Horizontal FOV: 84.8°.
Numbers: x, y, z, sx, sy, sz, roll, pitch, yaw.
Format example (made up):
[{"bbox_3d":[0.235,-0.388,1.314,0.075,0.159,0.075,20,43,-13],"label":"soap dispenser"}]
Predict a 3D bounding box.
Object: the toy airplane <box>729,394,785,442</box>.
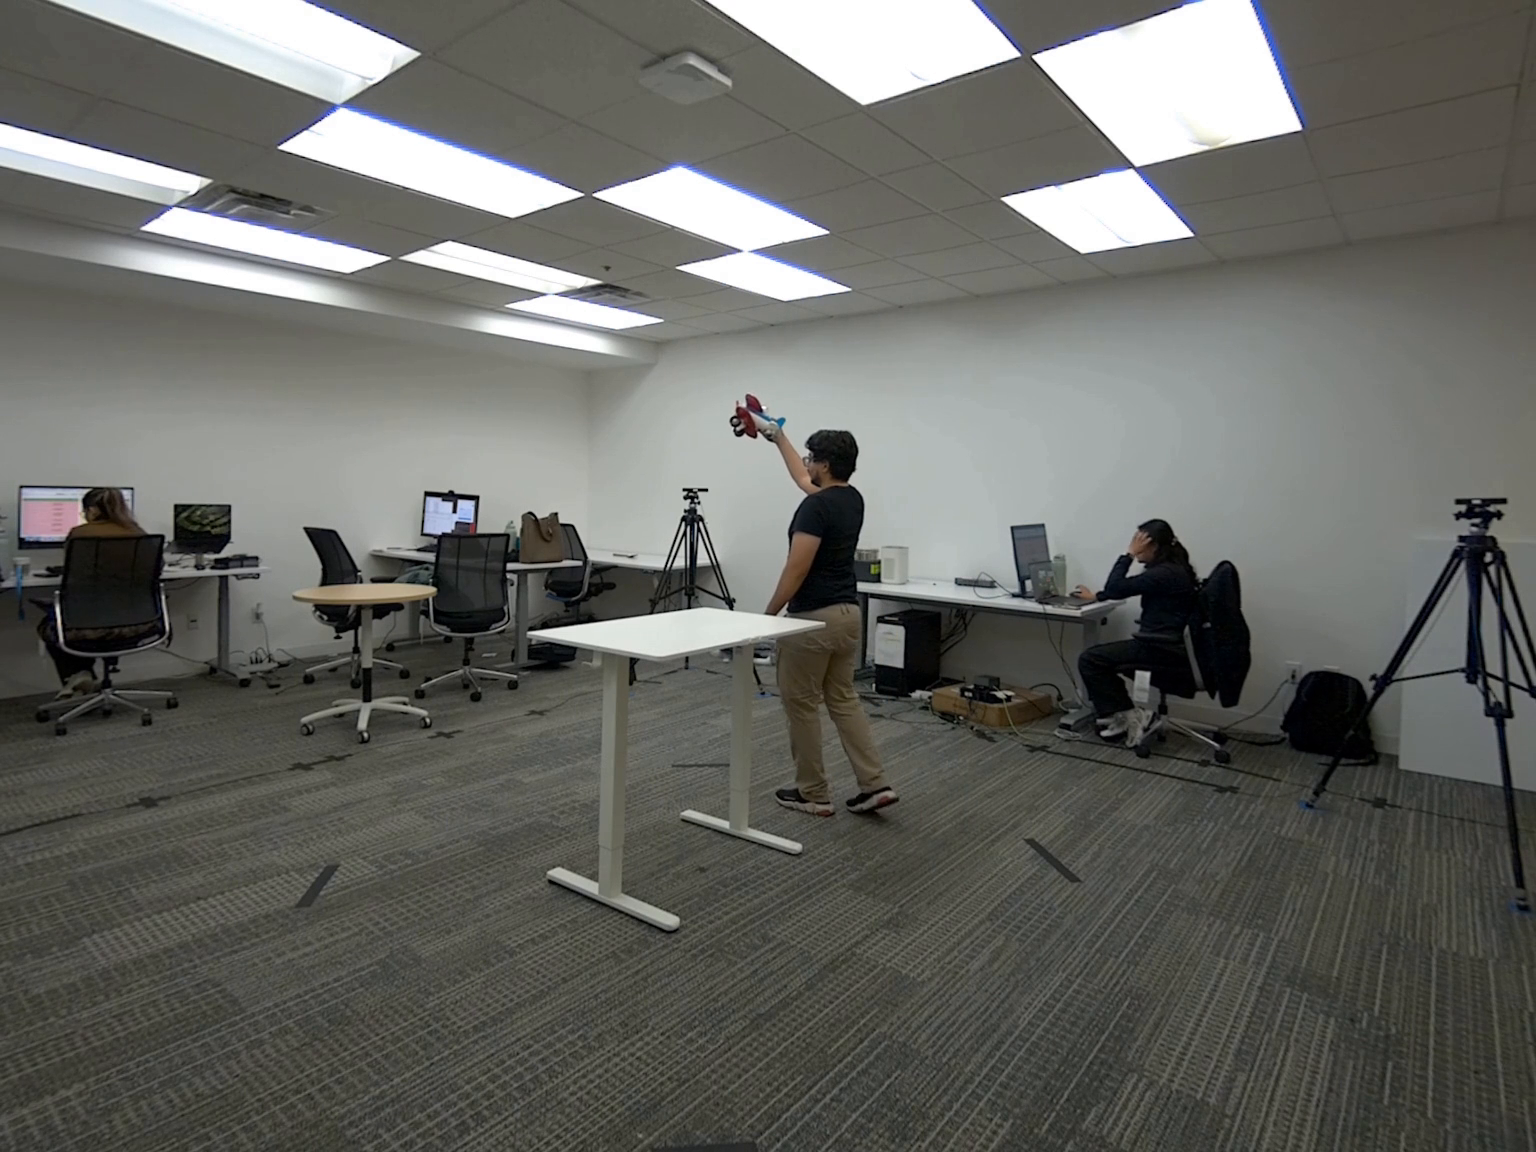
[{"bbox_3d":[-0.068,-0.741,4.116,0.257,0.158,0.251,25,-19,-7],"label":"toy airplane"}]
